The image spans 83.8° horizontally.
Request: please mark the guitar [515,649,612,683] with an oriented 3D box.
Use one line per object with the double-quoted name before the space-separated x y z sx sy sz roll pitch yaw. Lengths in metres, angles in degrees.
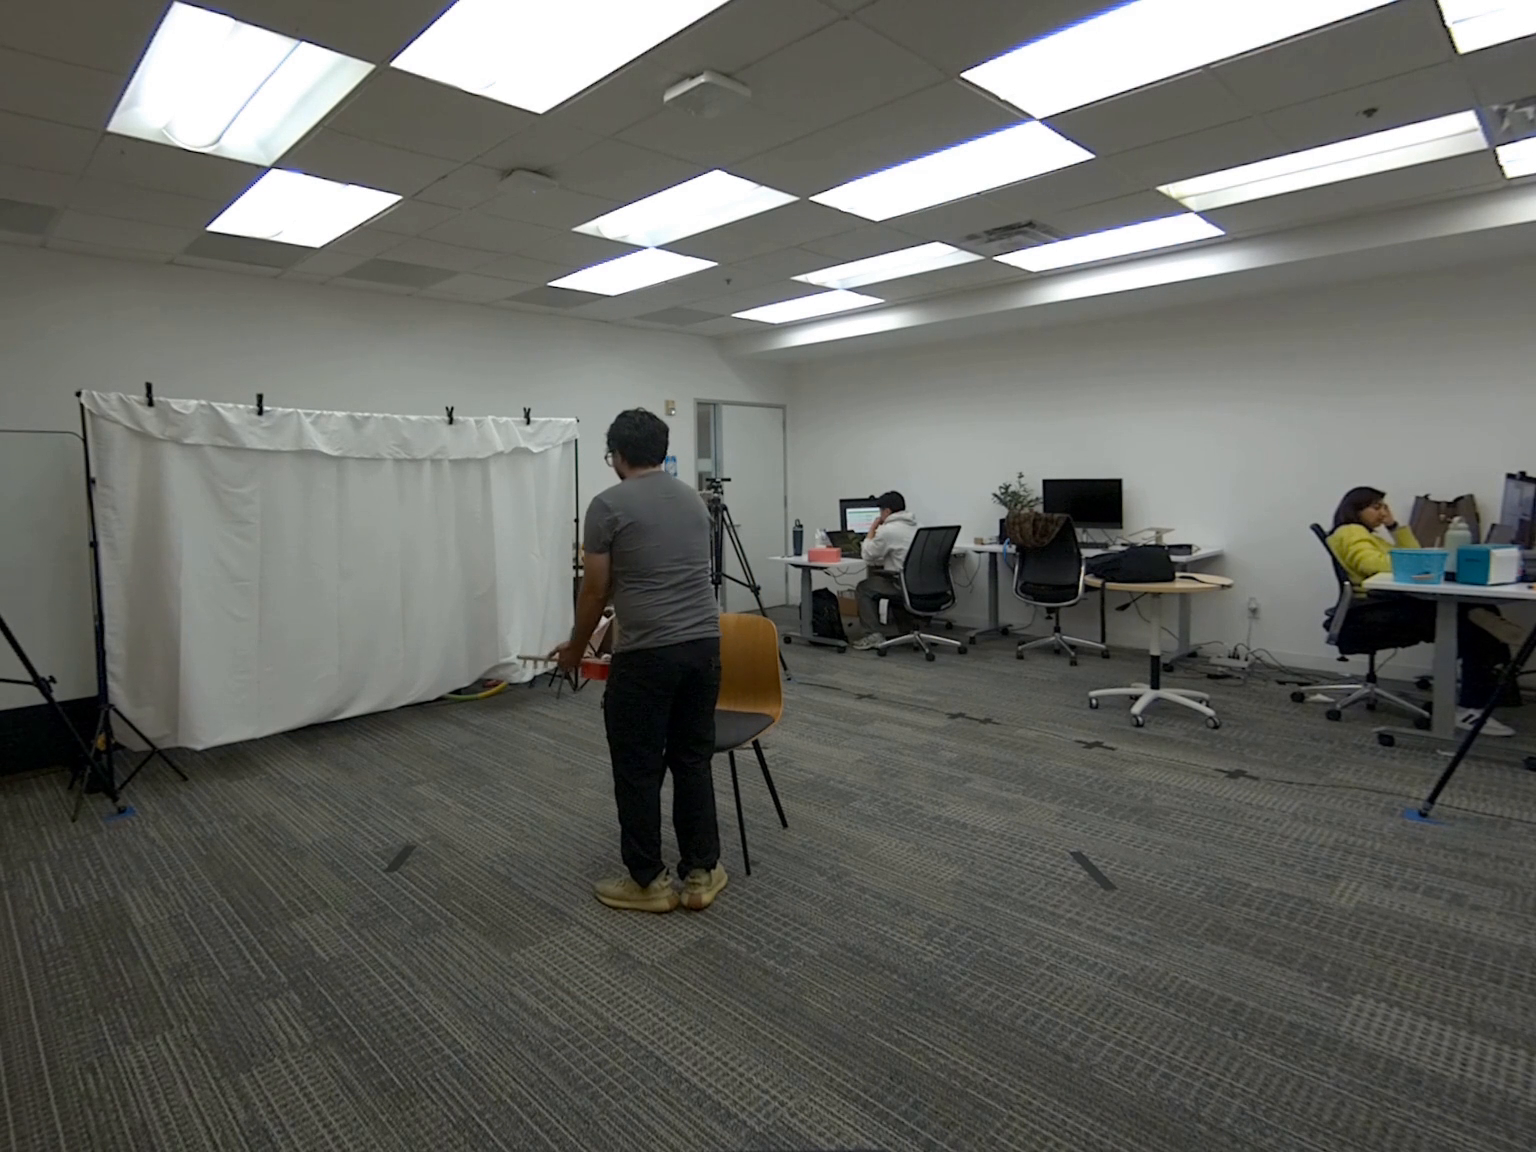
"guitar" -0.636 0.325 3.045 0.492 0.071 0.195 6 -1 -11
